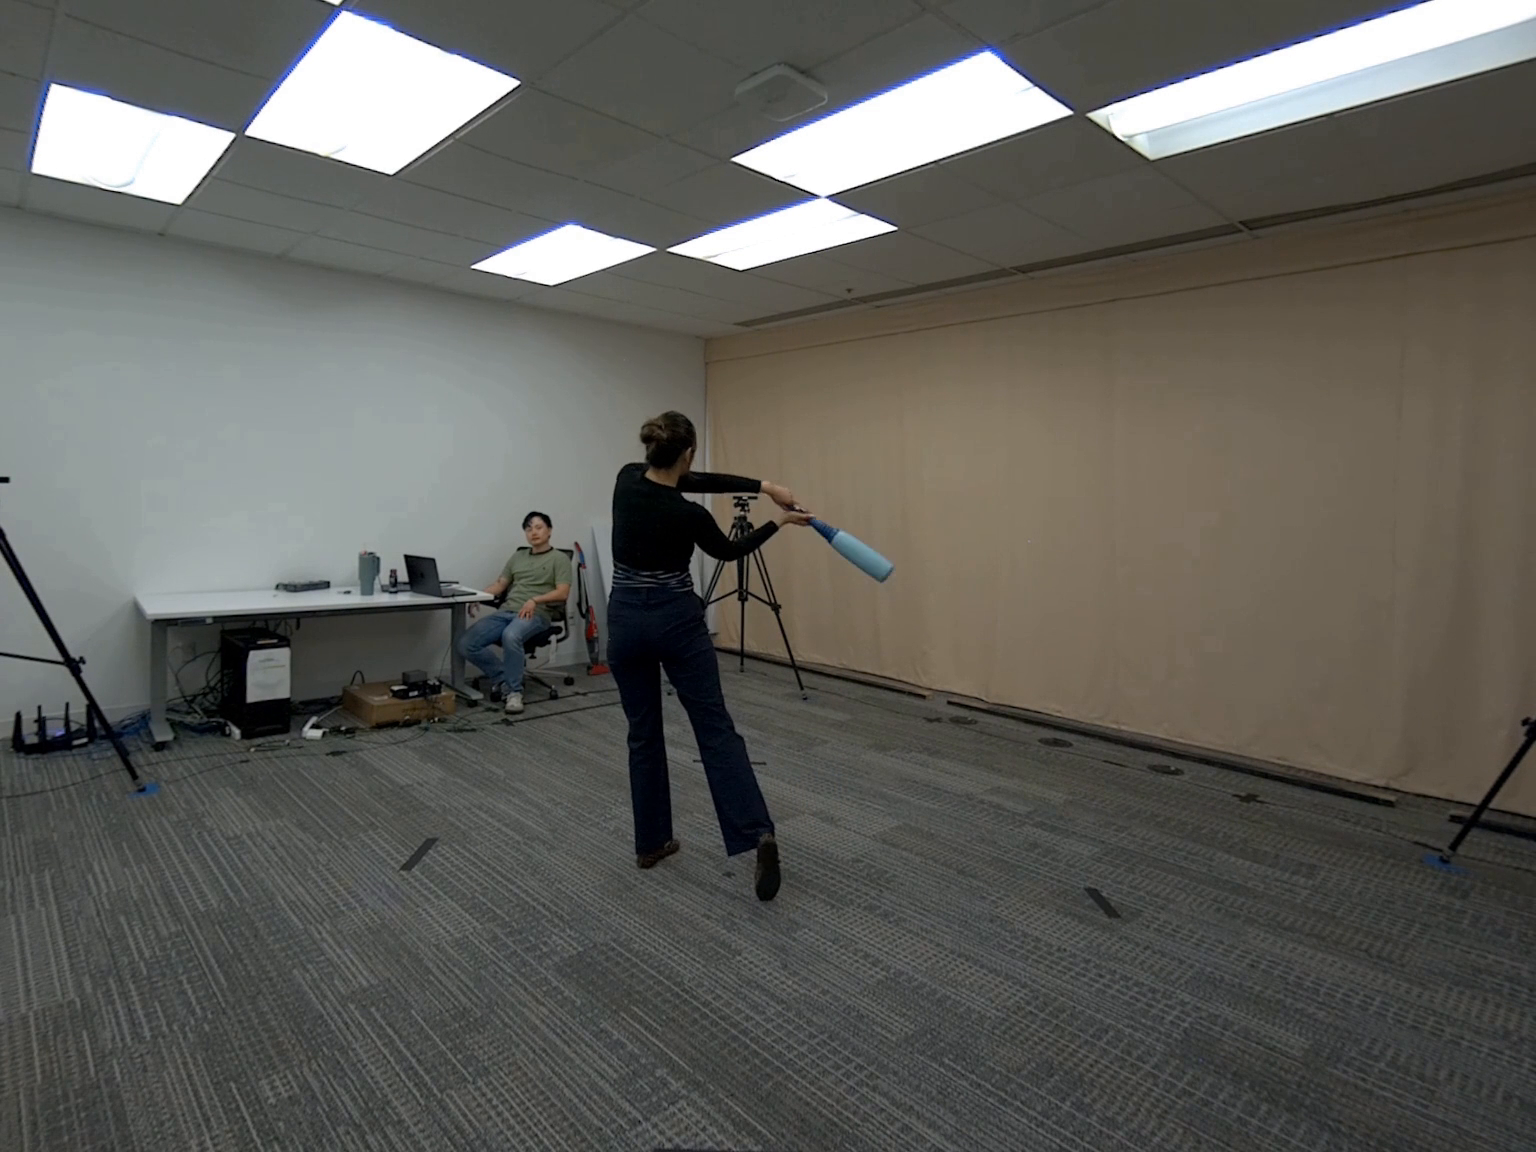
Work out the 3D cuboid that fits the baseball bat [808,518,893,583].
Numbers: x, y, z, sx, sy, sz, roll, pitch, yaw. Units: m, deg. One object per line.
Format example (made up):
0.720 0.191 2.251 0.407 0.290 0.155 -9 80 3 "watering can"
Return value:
0.191 -0.169 3.249 0.553 0.089 0.088 37 15 17 "baseball bat"
